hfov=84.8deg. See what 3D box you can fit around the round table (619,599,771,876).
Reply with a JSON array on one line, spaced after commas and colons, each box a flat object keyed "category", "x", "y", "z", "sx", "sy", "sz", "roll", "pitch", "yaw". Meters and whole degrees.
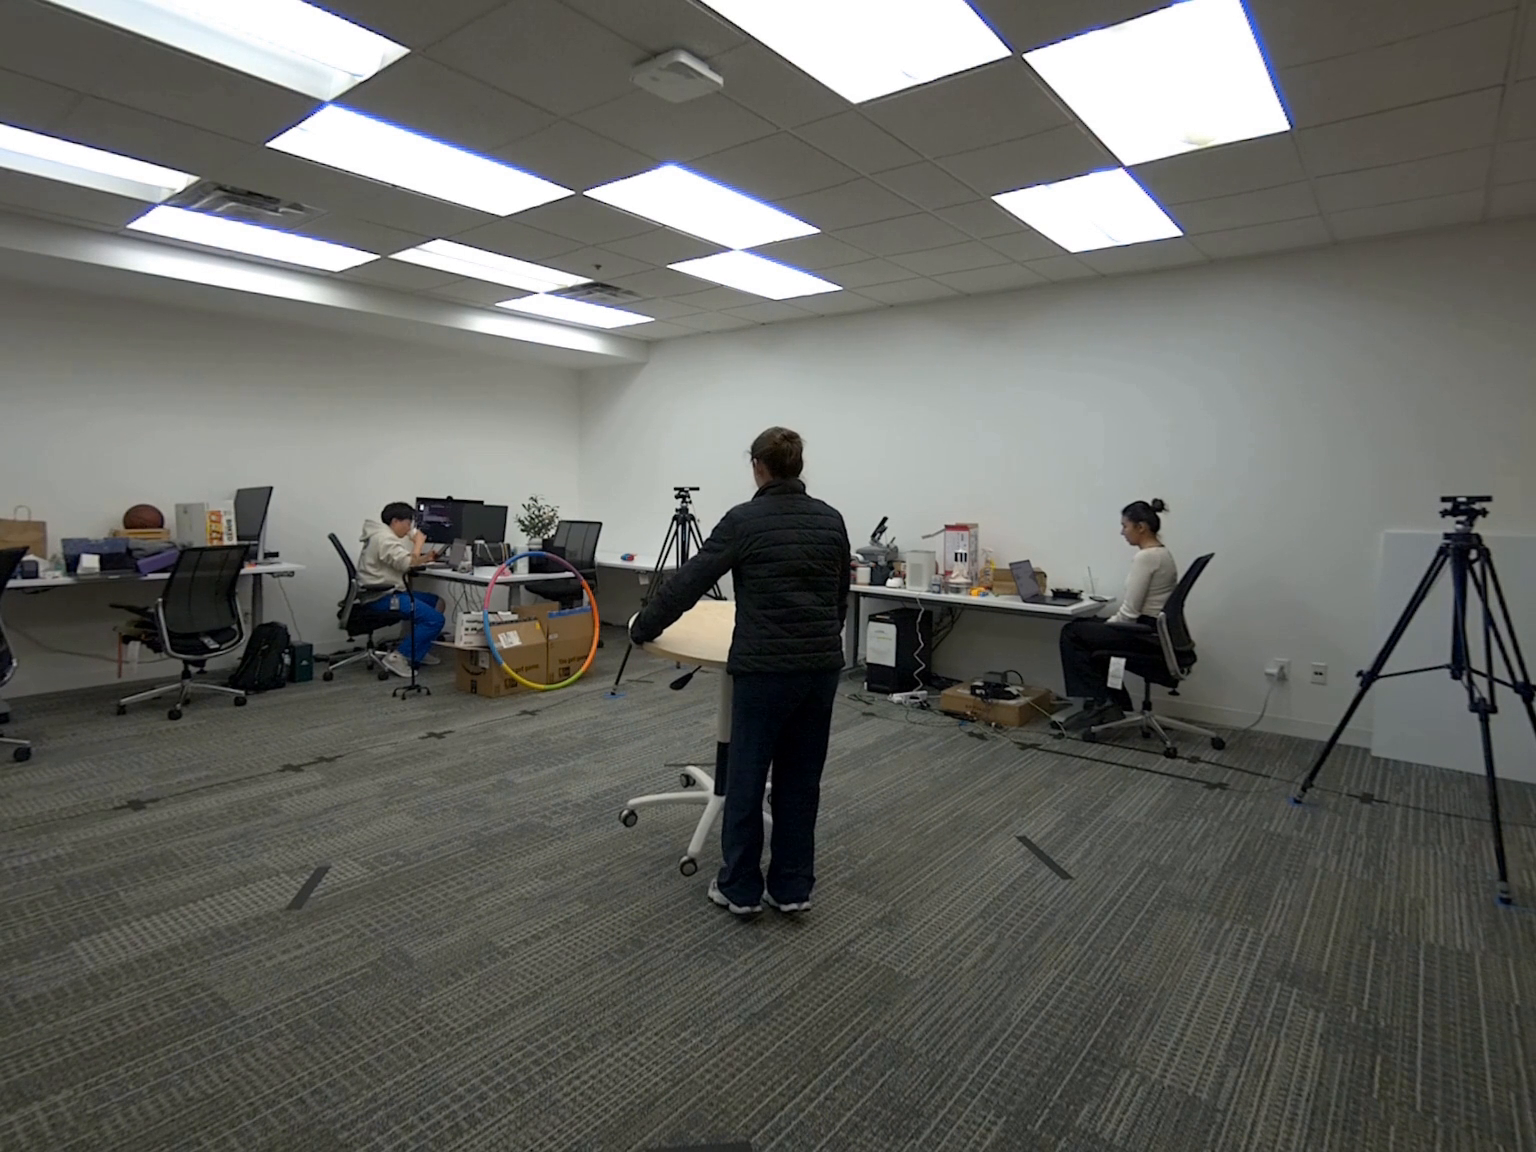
[{"category": "round table", "x": -0.146, "y": 0.582, "z": 3.227, "sx": 0.784, "sy": 0.779, "sz": 0.794, "roll": 4, "pitch": 11, "yaw": -3}]
